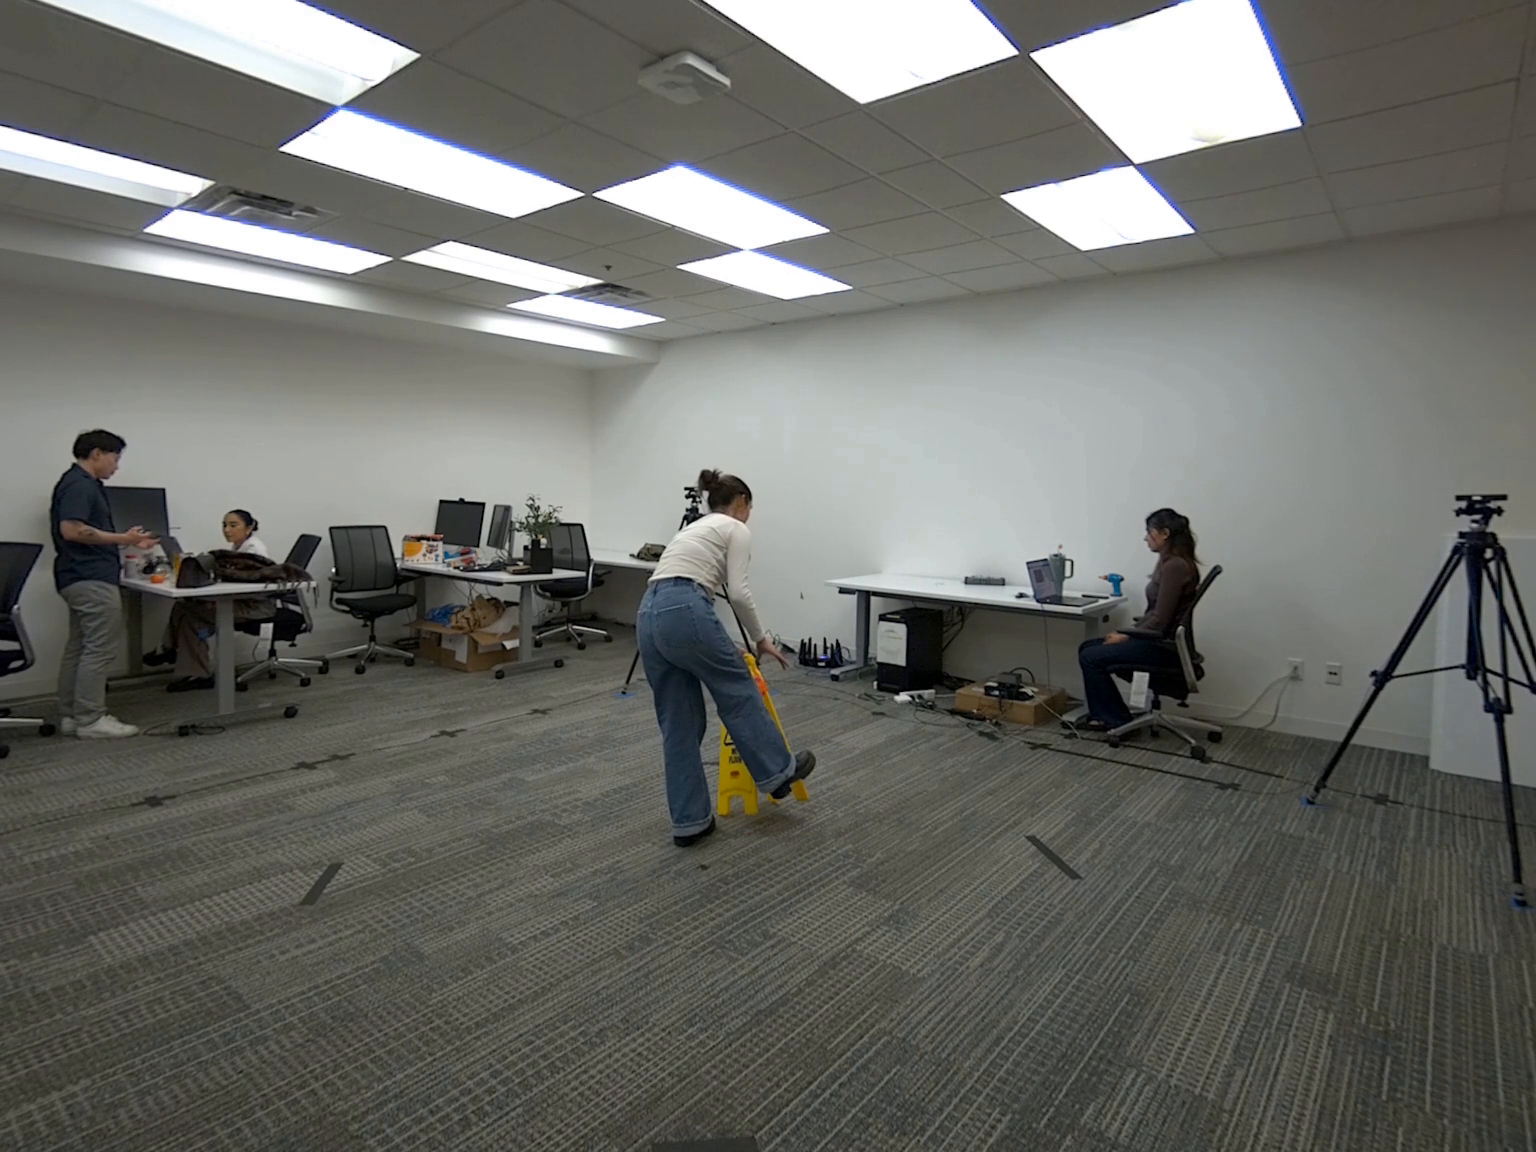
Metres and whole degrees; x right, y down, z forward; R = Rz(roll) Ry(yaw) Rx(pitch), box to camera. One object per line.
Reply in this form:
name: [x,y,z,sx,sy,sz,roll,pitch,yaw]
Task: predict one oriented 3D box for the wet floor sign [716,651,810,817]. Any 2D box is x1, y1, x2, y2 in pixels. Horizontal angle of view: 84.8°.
wet floor sign: [-0.084,0.663,3.673,0.281,0.655,0.286,-2,-14,-36]
